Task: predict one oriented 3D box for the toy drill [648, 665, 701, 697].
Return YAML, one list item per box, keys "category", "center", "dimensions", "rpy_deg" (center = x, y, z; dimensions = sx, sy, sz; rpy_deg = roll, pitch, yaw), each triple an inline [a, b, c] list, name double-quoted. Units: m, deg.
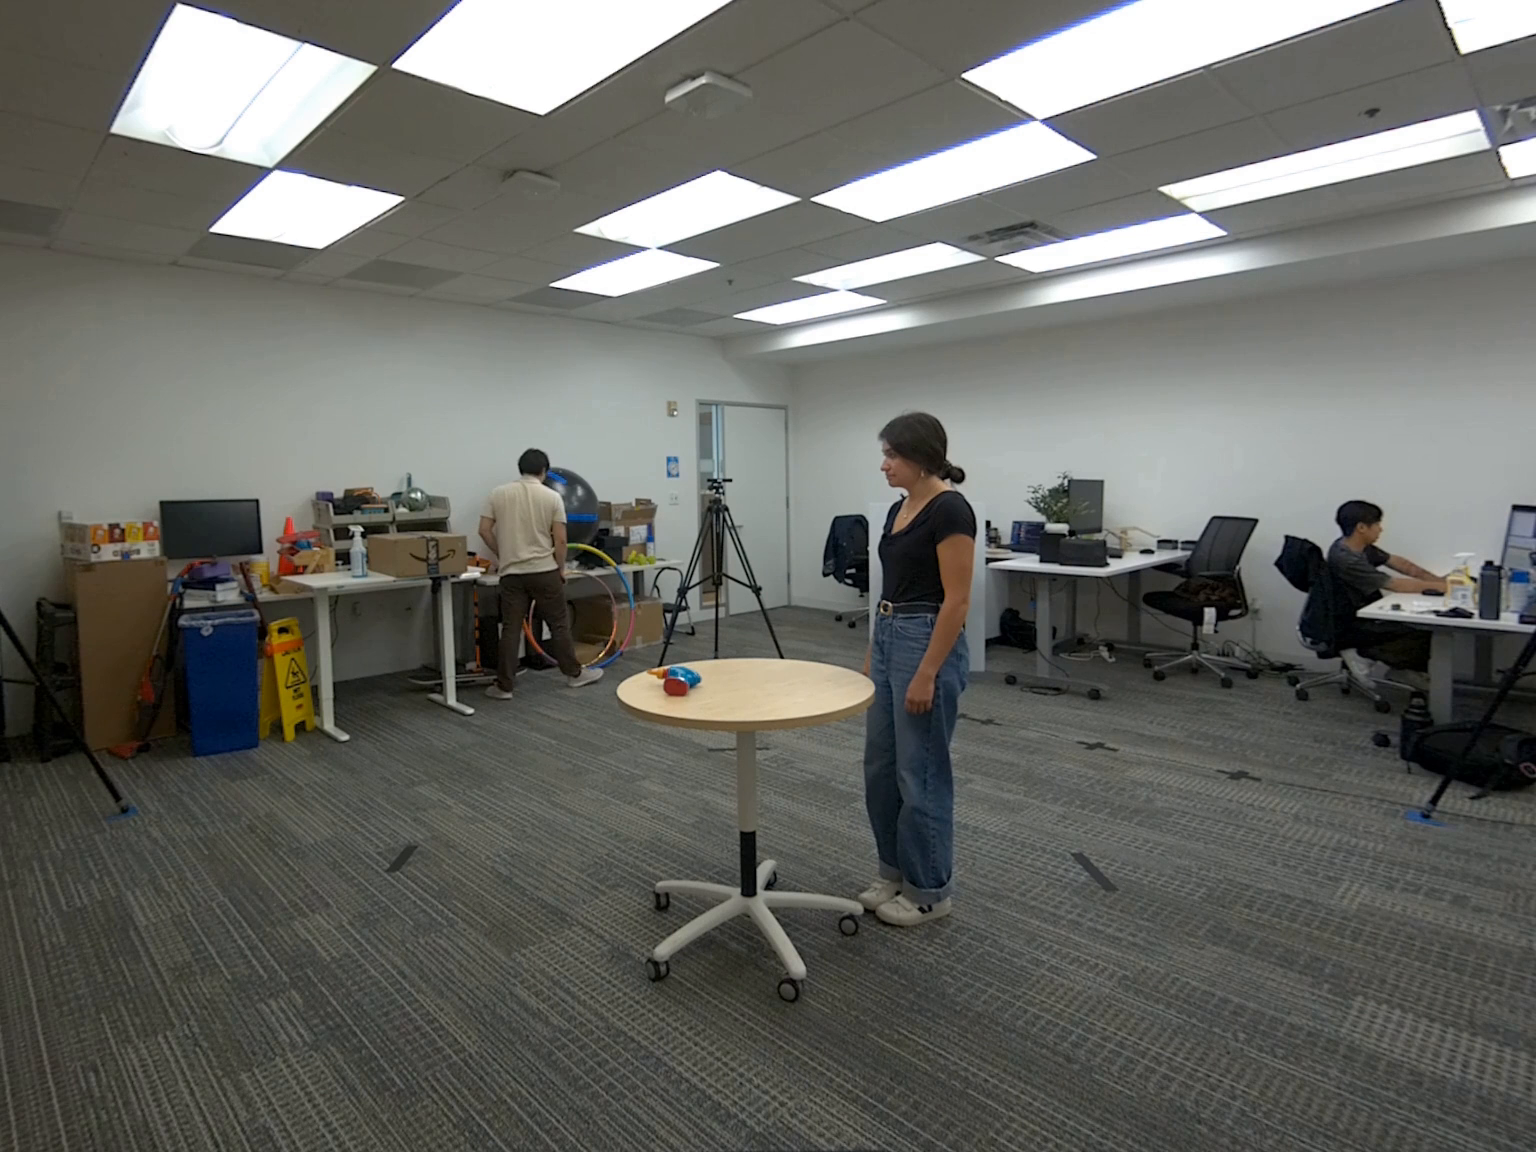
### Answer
- category: "toy drill"
  center: [-0.278, 0.306, 2.508]
  dimensions: [0.172, 0.061, 0.145]
  rpy_deg: [8, 8, 9]
